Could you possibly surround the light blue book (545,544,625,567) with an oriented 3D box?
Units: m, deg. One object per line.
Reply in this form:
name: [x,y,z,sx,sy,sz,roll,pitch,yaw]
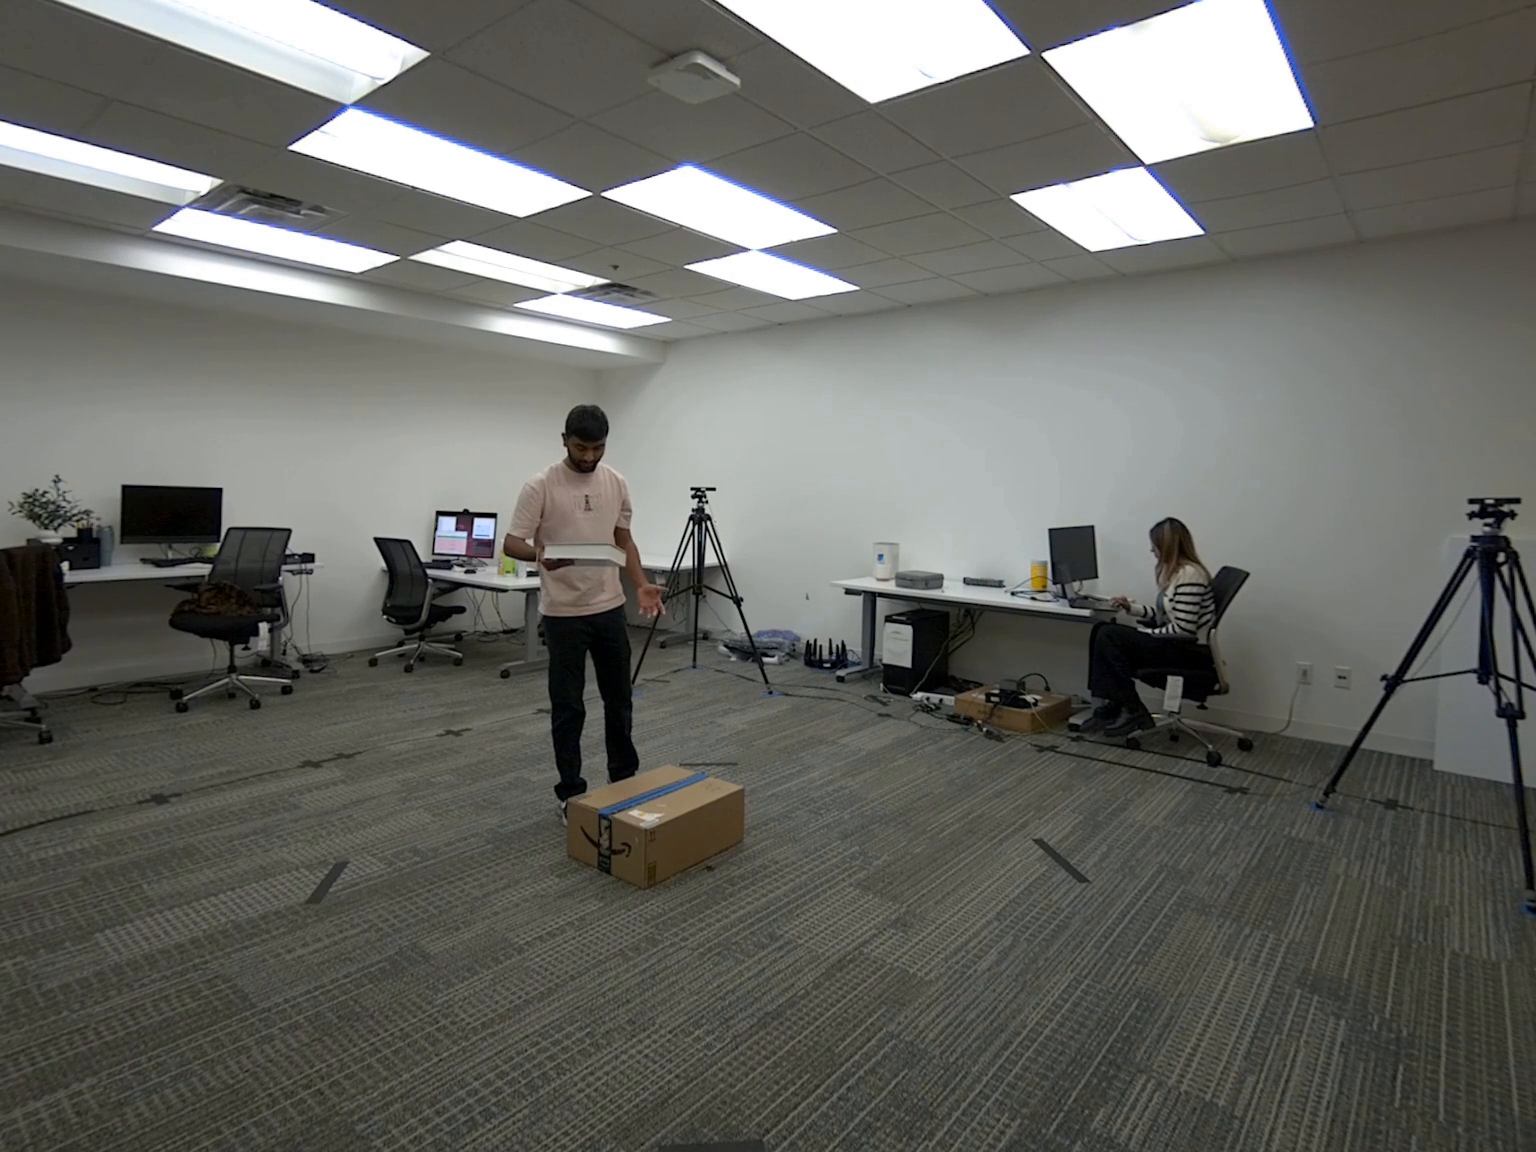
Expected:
light blue book: [-0.695,-0.080,3.207,0.196,0.059,0.254,1,-4,22]
